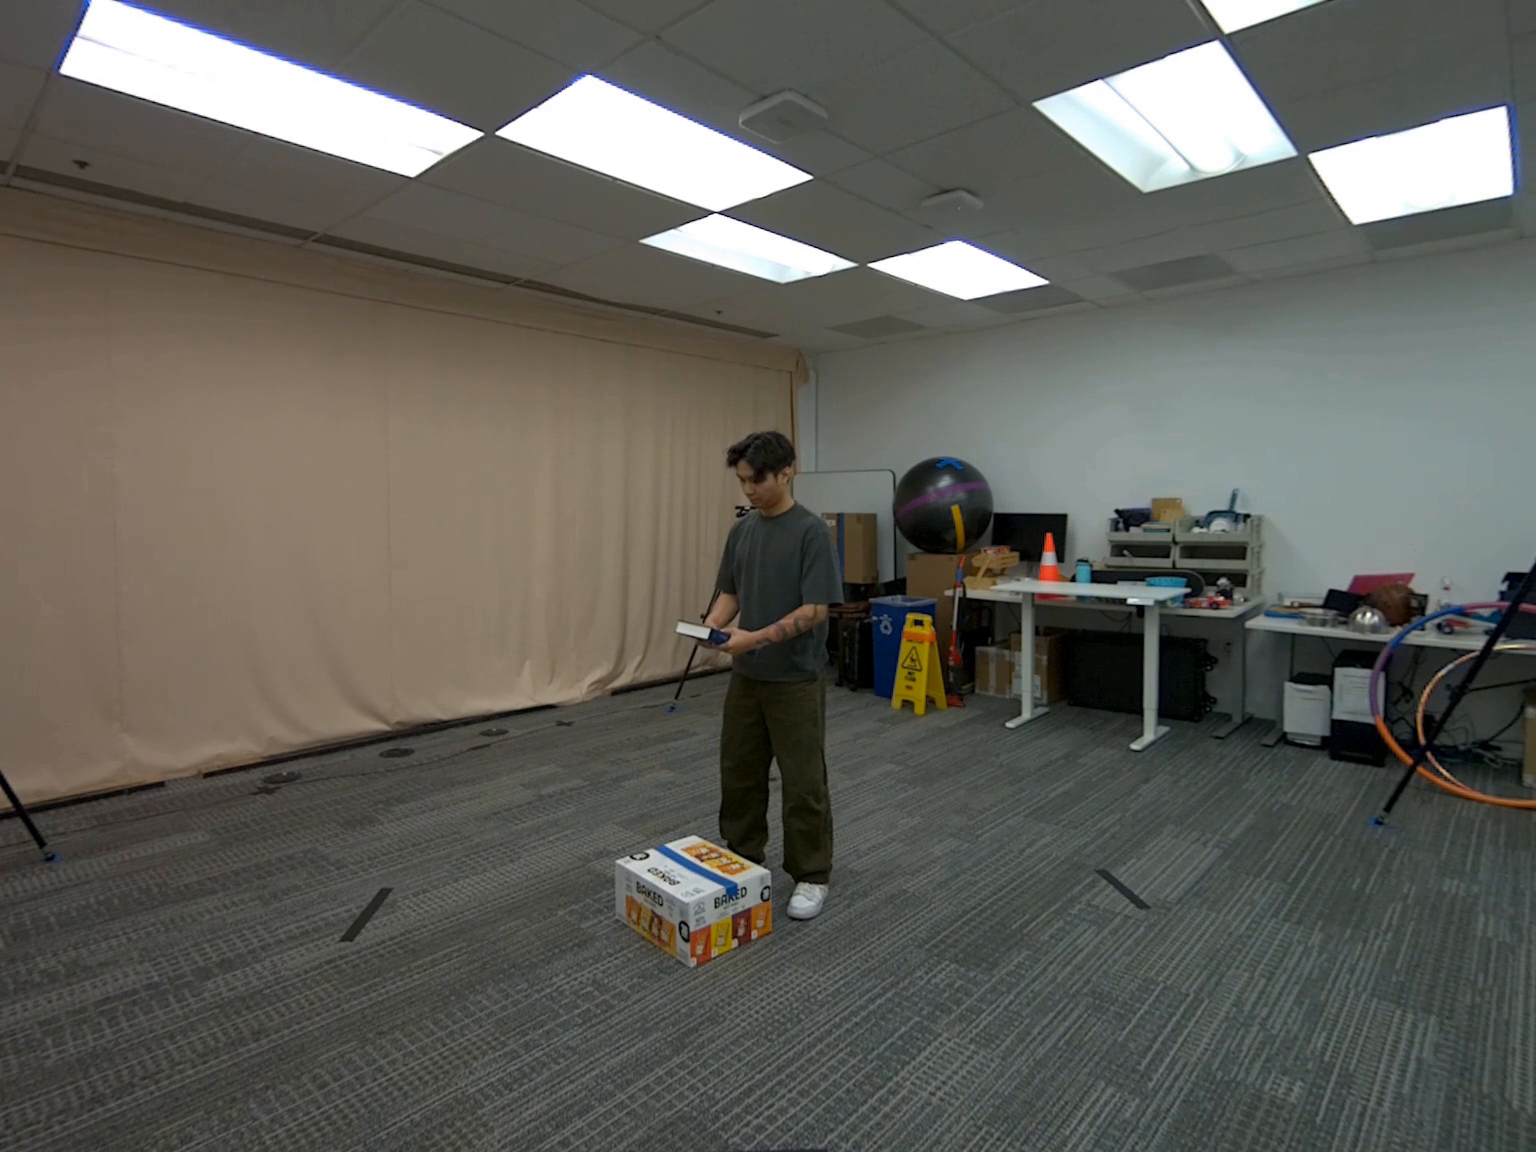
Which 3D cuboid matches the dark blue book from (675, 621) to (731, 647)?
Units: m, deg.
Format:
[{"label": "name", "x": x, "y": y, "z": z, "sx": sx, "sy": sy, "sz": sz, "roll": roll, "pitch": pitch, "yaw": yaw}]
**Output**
[{"label": "dark blue book", "x": -0.173, "y": 0.207, "z": 2.847, "sx": 0.169, "sy": 0.045, "sz": 0.236, "roll": 8, "pitch": -9, "yaw": 42}]
